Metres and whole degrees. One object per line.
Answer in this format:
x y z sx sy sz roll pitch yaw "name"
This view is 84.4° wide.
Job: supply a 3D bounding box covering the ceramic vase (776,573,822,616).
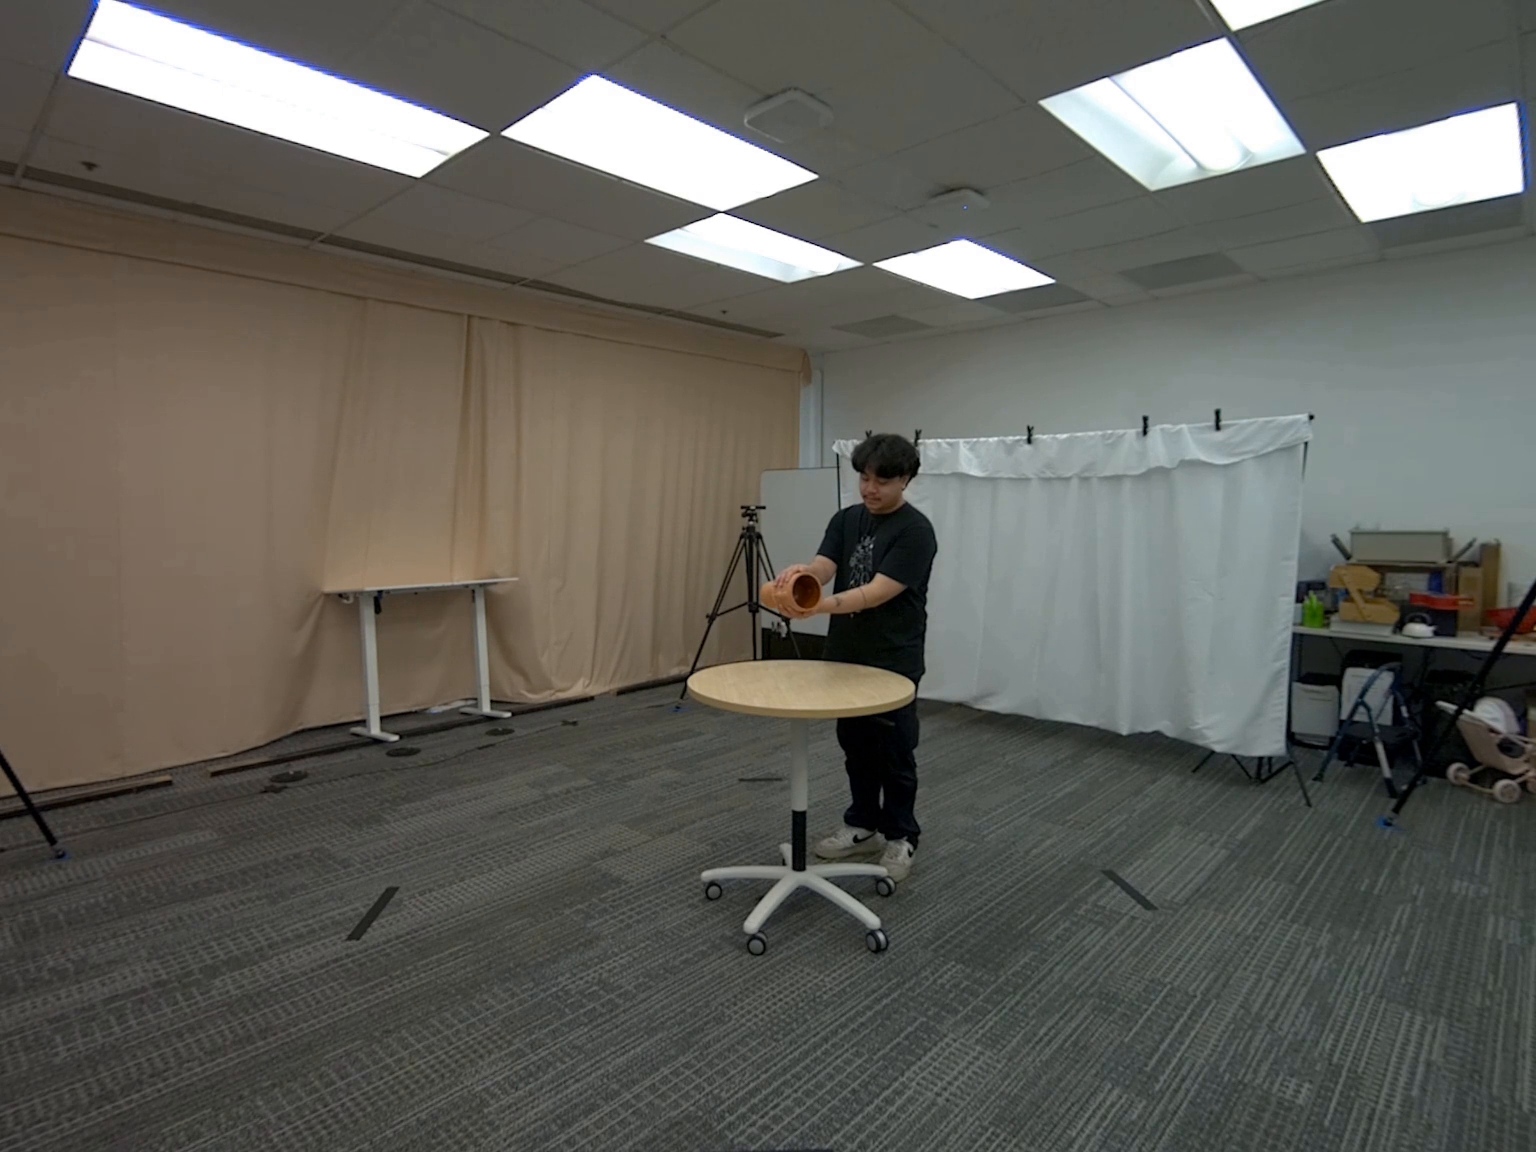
0.081 0.057 2.951 0.155 0.134 0.225 42 -23 -21 "ceramic vase"
